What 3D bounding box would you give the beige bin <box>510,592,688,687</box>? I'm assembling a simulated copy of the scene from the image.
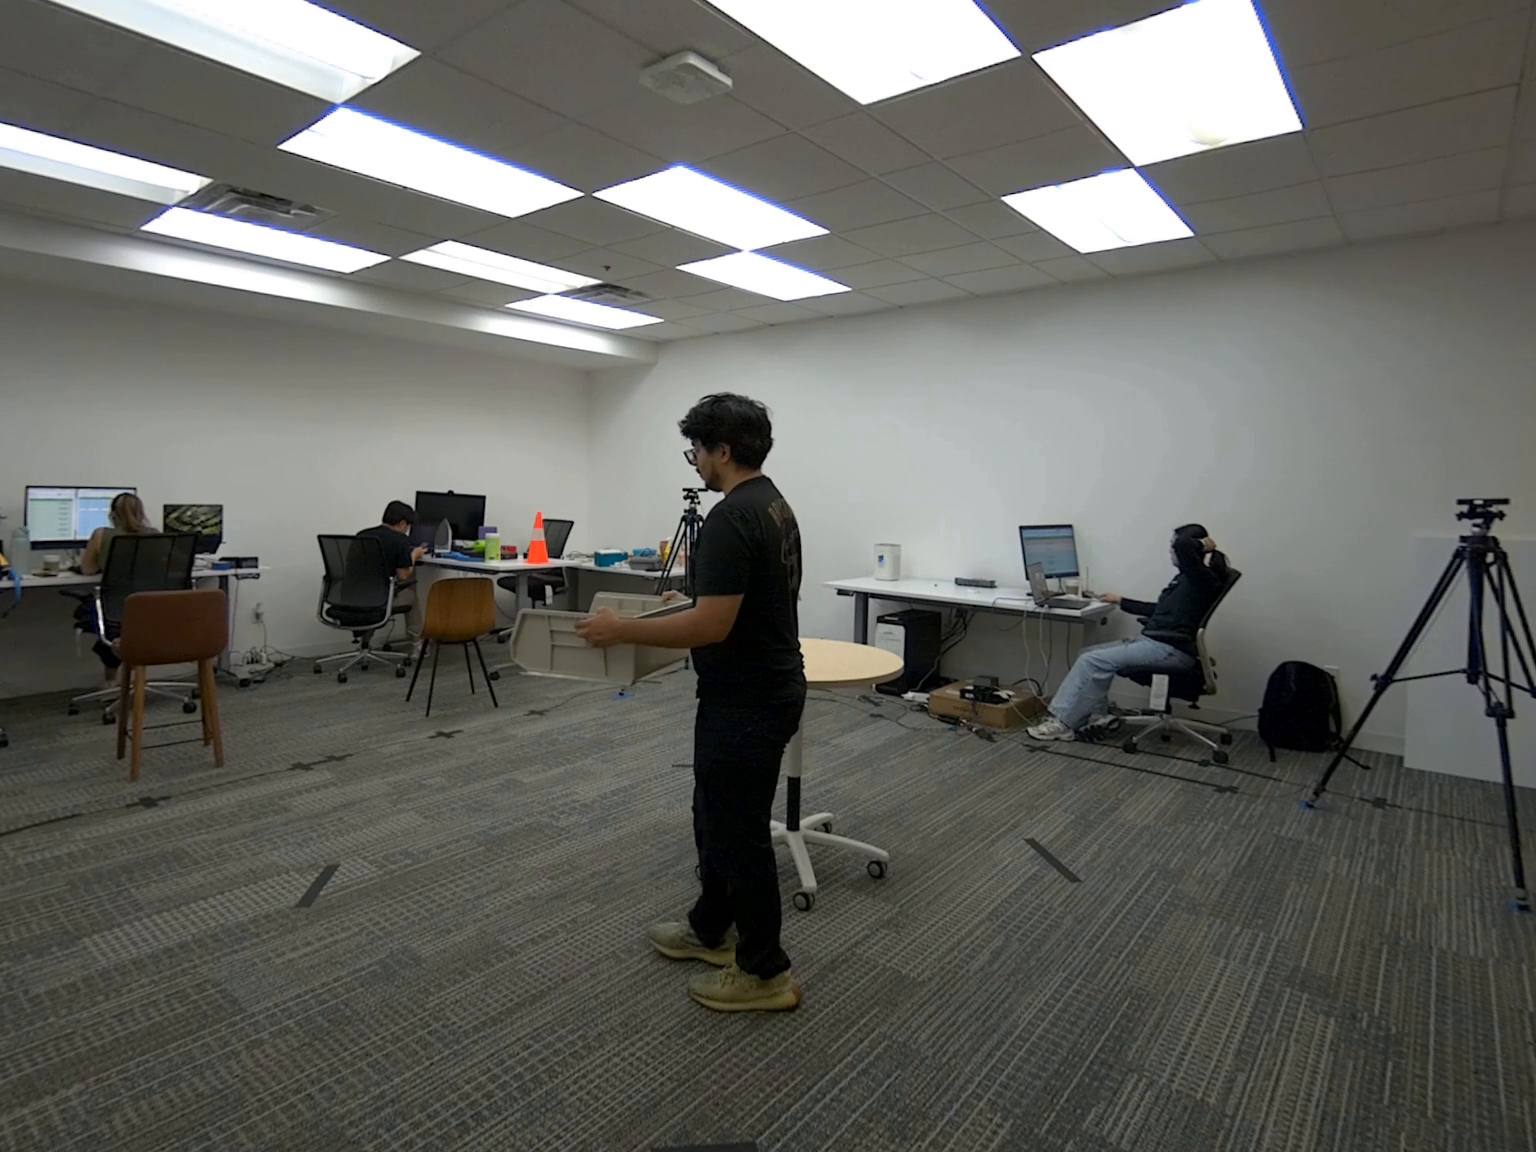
[{"bbox_3d":[-0.468,0.167,2.420,0.386,0.188,0.414,4,5,20],"label":"beige bin"}]
